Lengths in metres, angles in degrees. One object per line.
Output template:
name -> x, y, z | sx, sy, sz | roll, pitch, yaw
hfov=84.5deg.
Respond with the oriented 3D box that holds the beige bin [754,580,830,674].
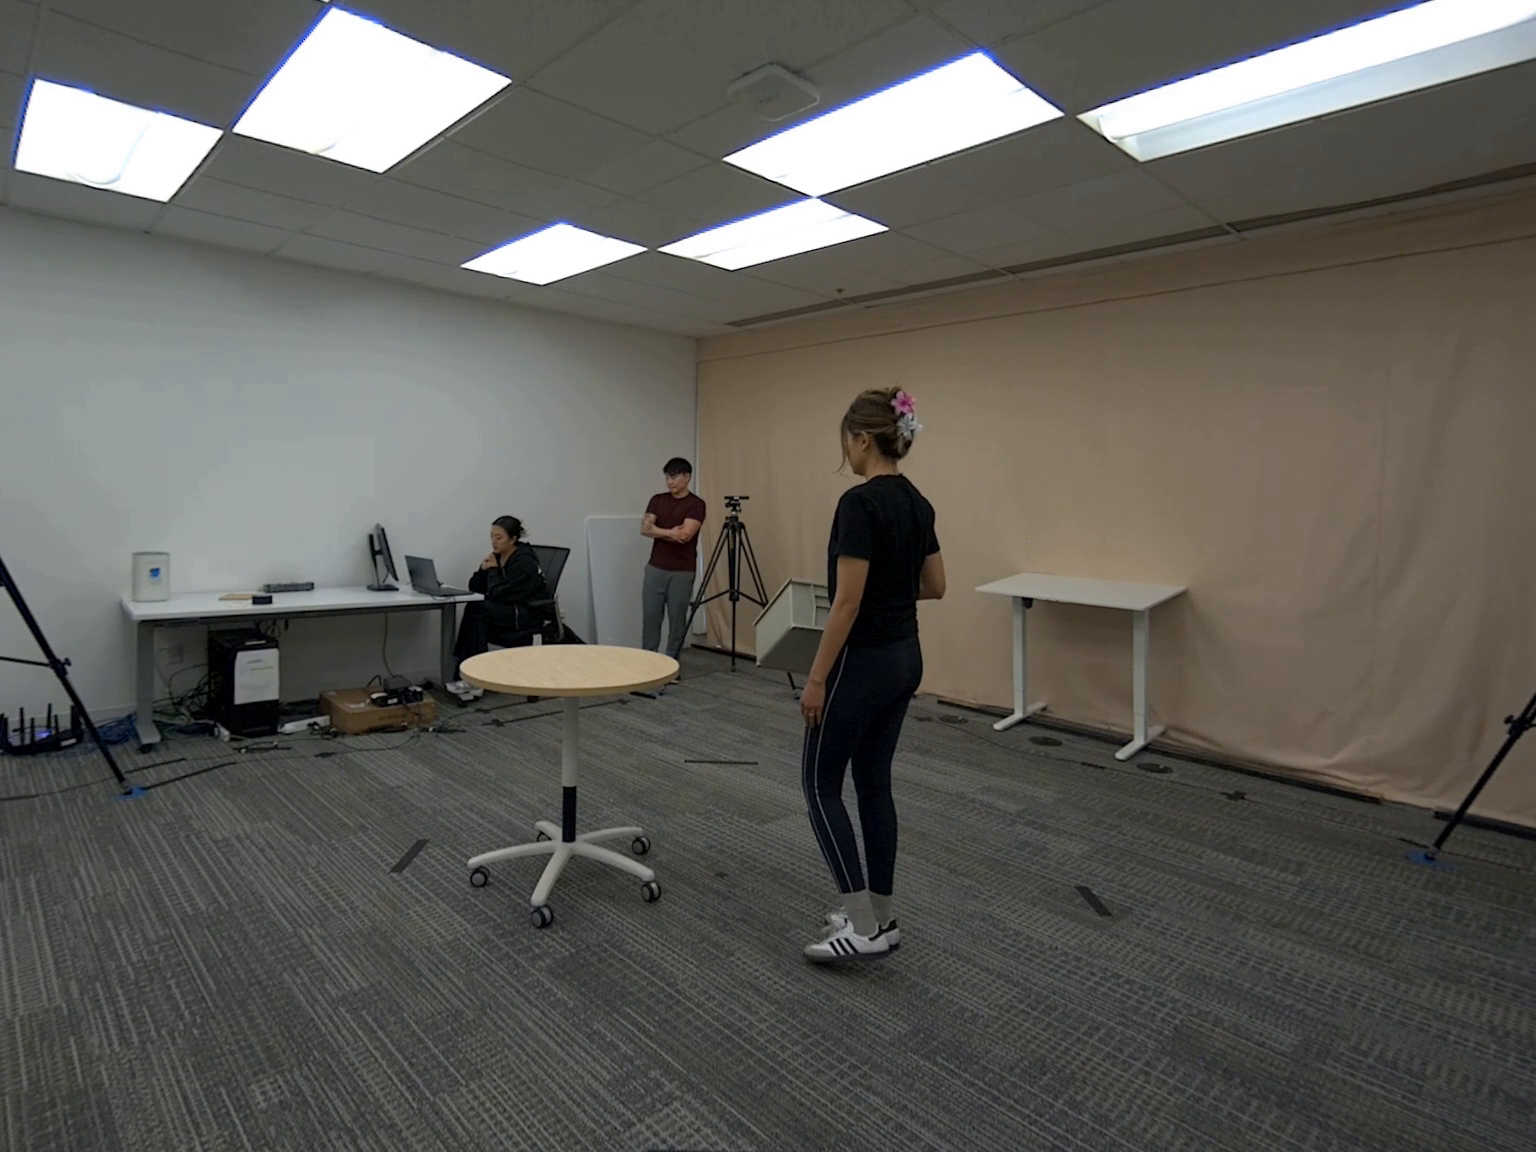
beige bin -> 0.181, 0.198, 3.070 | 0.372, 0.192, 0.420 | 7, -28, -17
